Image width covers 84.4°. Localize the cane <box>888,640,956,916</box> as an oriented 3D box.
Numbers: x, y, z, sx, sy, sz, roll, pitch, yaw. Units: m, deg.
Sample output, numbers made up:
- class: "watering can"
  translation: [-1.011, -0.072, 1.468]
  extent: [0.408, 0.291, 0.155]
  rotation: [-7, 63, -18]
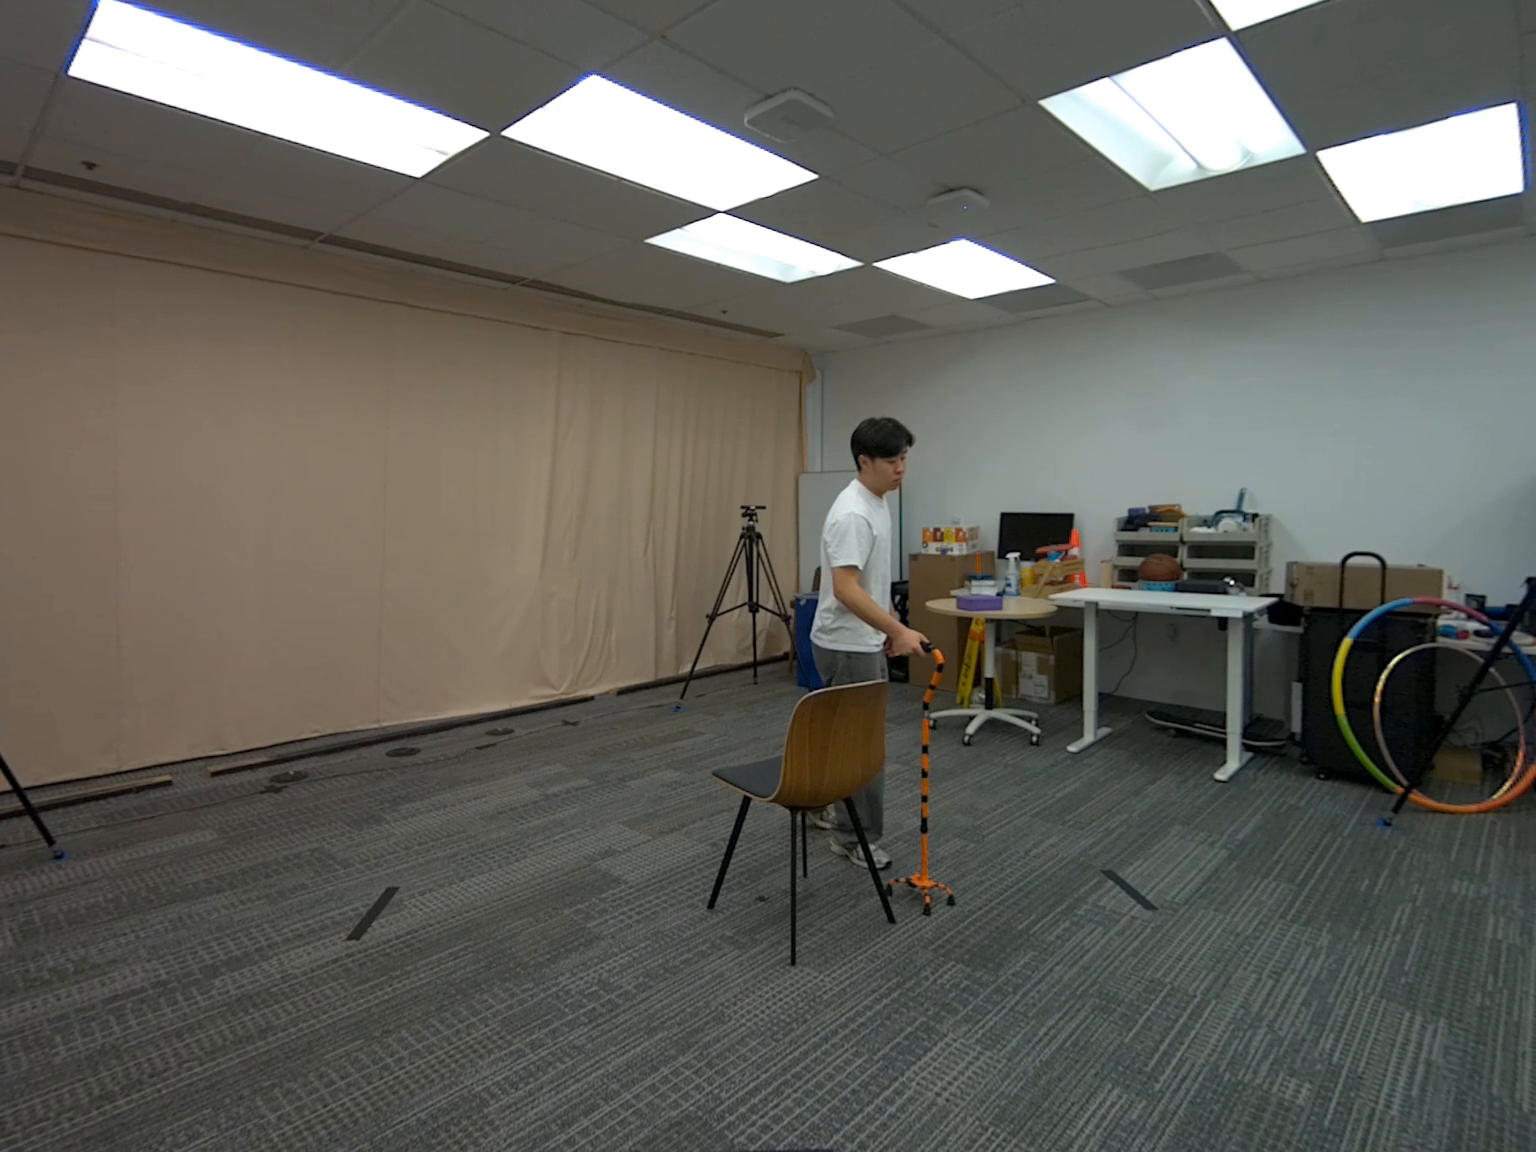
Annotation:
- class: "cane"
  translation: [0.542, 0.690, 2.947]
  extent: [0.147, 0.906, 0.213]
  rotation: [-4, 4, -43]
